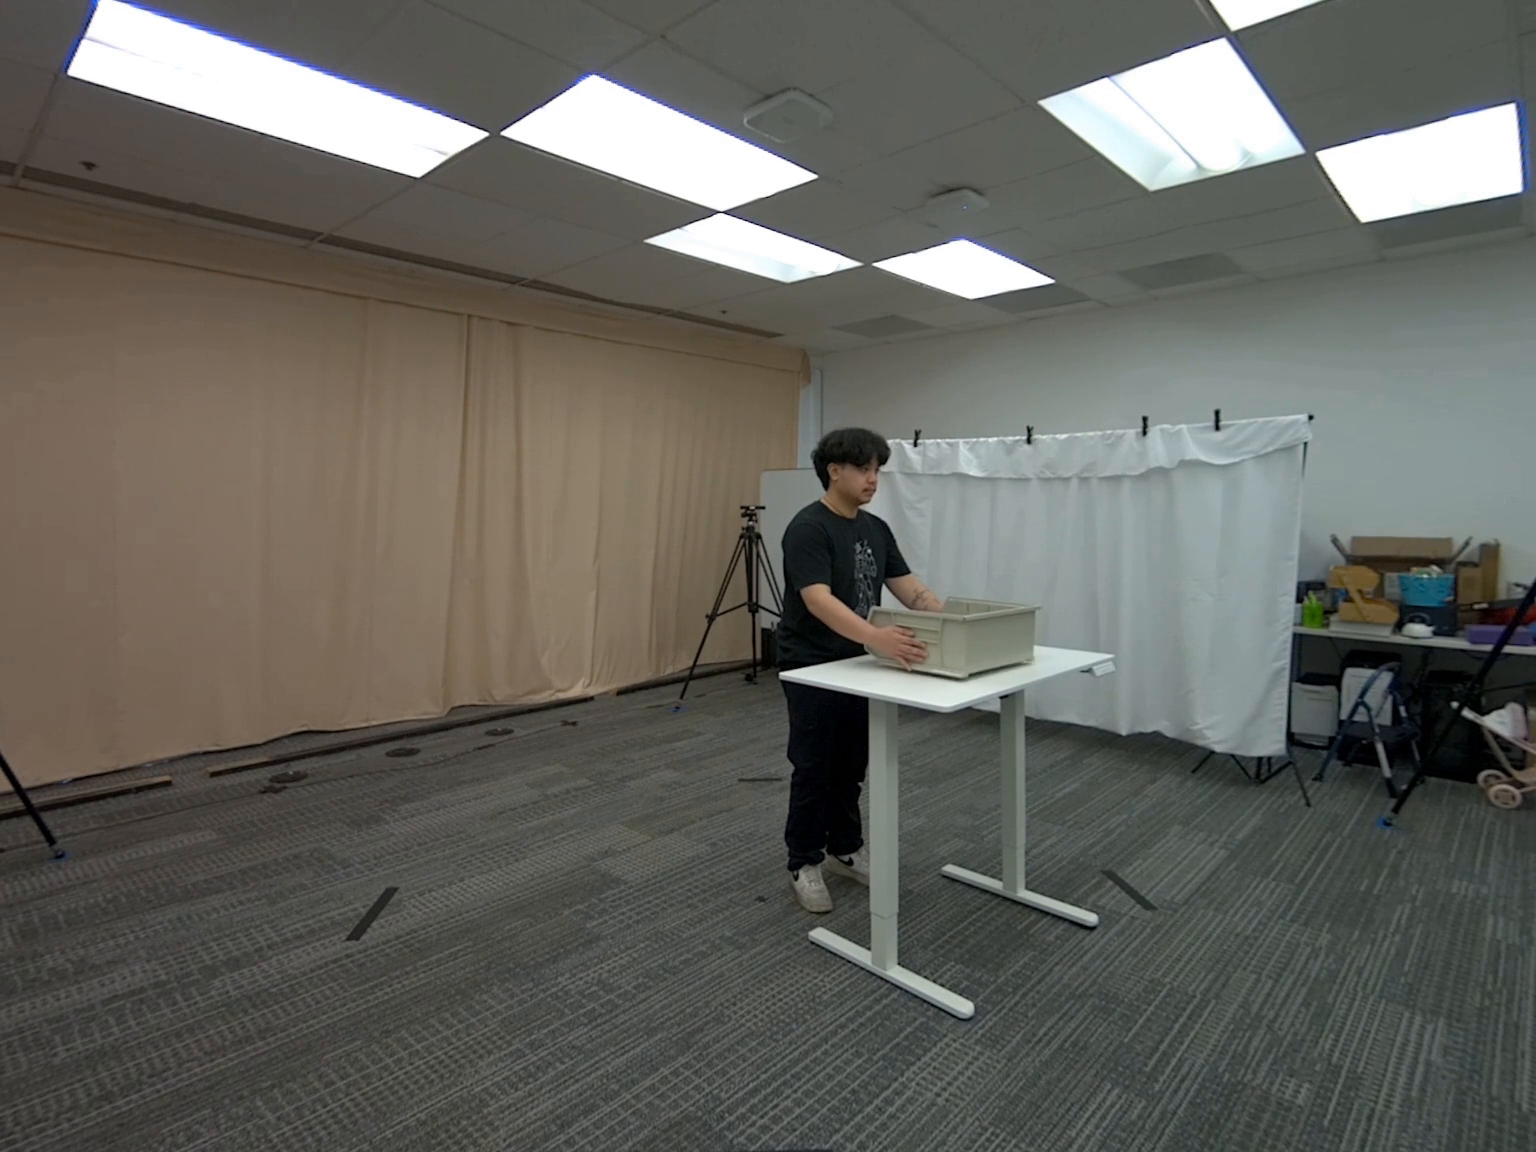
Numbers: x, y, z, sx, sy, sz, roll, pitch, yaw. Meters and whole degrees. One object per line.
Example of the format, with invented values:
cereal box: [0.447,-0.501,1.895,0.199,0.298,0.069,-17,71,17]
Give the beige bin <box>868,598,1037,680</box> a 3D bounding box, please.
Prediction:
beige bin: [0.589,0.185,2.669,0.409,0.188,0.390,-3,6,-40]
